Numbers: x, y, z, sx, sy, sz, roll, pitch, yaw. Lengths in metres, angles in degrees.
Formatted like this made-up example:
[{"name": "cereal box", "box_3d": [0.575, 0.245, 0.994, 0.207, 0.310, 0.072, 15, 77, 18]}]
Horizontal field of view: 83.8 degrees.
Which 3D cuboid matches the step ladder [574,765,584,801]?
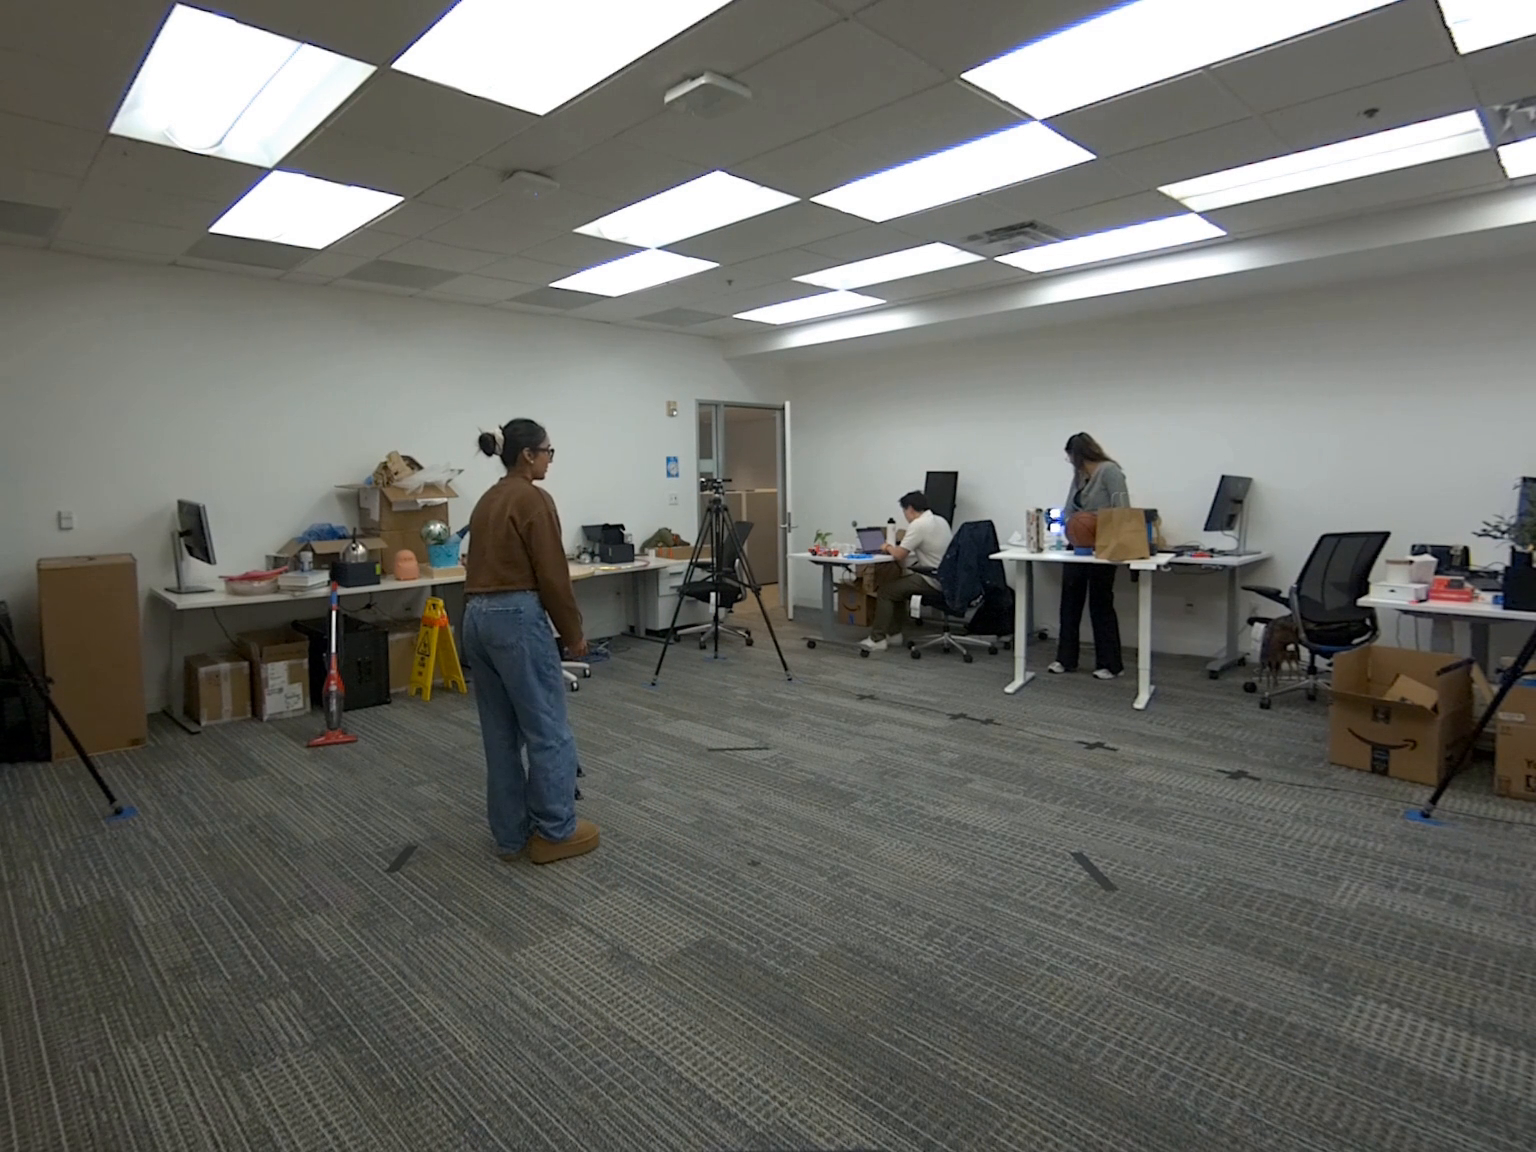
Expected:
[{"name": "step ladder", "box_3d": [-0.937, 0.580, 3.576, 0.346, 0.608, 0.434, 4, -3, -10]}]
